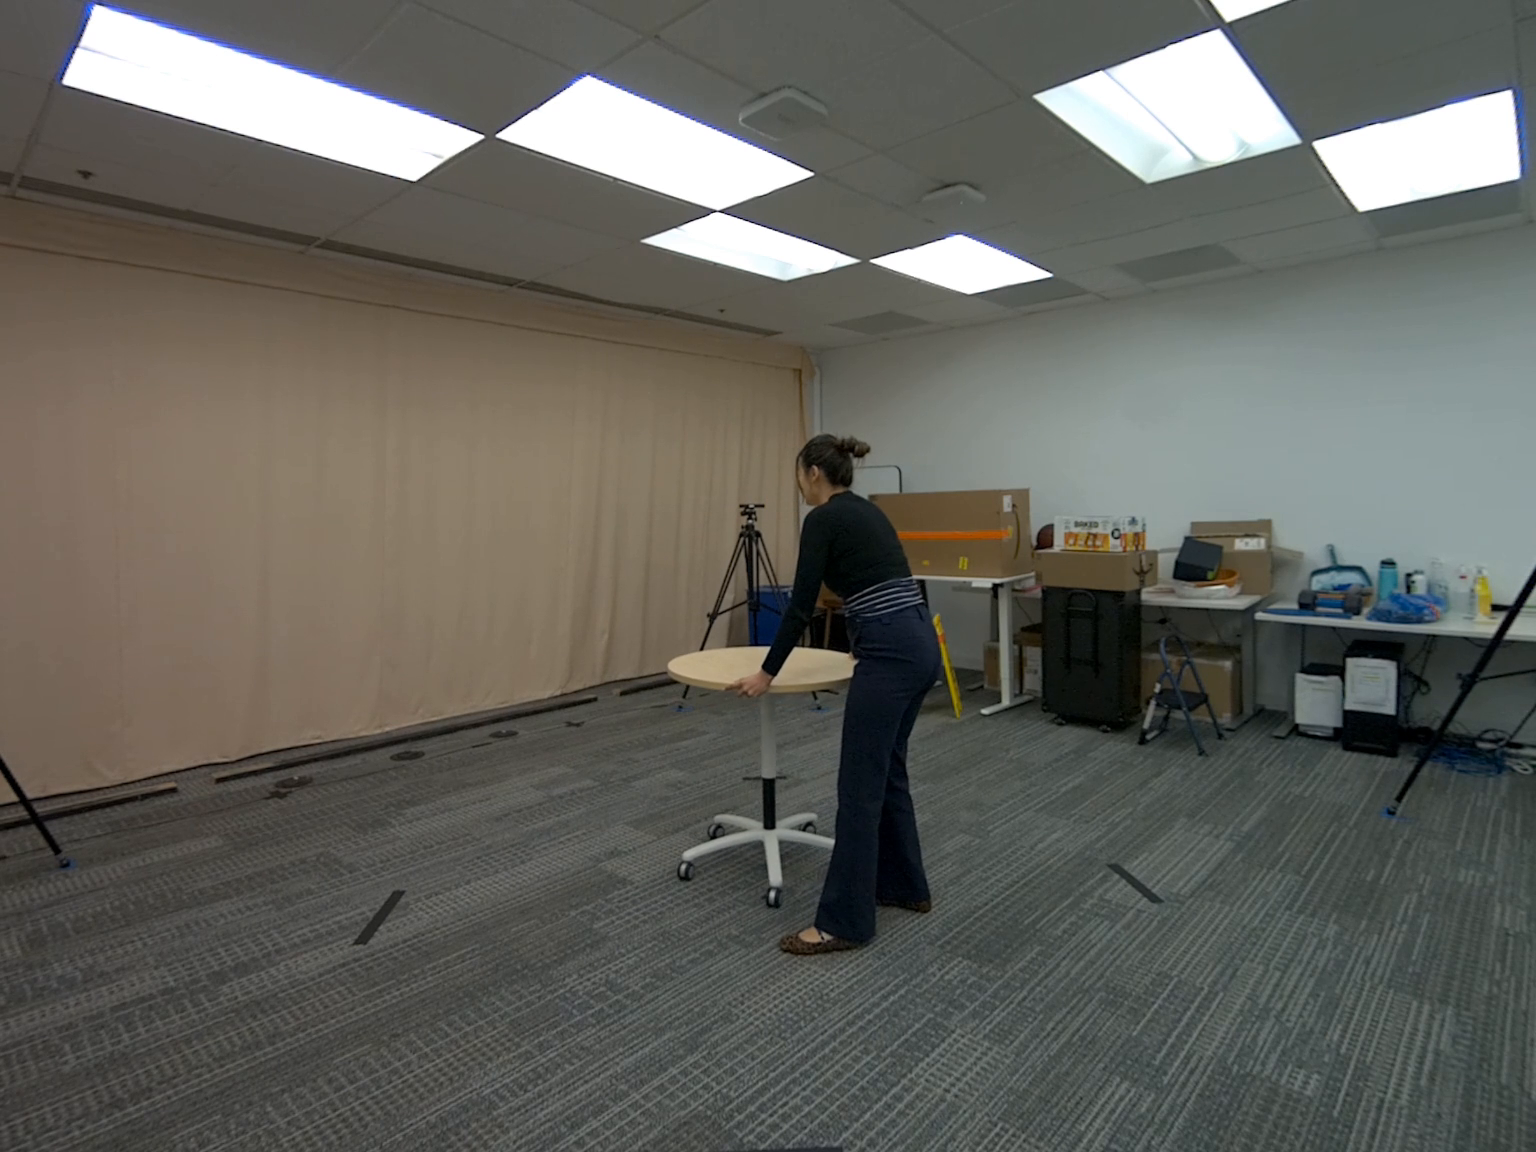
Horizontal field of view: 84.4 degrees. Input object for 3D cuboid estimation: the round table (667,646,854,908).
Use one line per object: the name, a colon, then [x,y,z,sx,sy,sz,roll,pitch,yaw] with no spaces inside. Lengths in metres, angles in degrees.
round table: [0.003,0.728,3.236,0.763,0.792,0.766,-1,3,-2]
